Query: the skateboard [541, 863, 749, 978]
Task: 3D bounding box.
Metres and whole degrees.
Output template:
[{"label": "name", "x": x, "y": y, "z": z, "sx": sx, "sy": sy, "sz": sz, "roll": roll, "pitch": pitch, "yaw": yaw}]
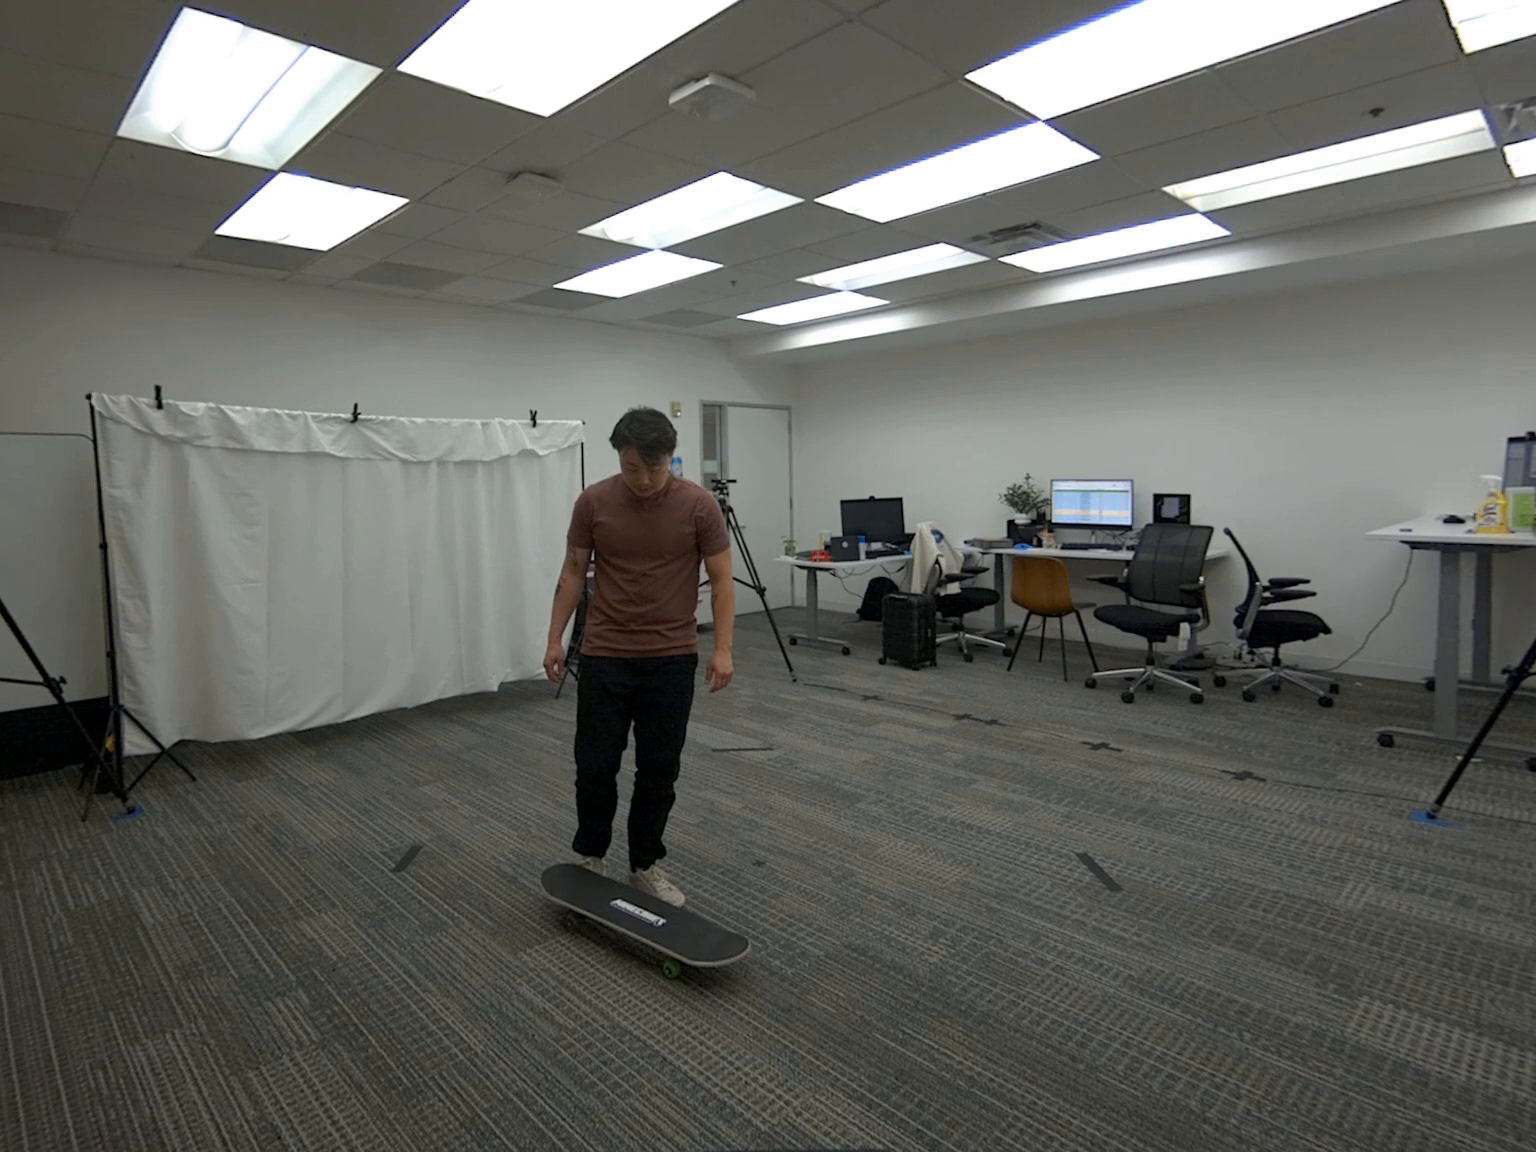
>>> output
[{"label": "skateboard", "x": -0.388, "y": 1.056, "z": 2.582, "sx": 0.809, "sy": 0.110, "sz": 0.189, "roll": 5, "pitch": 9, "yaw": 35}]
